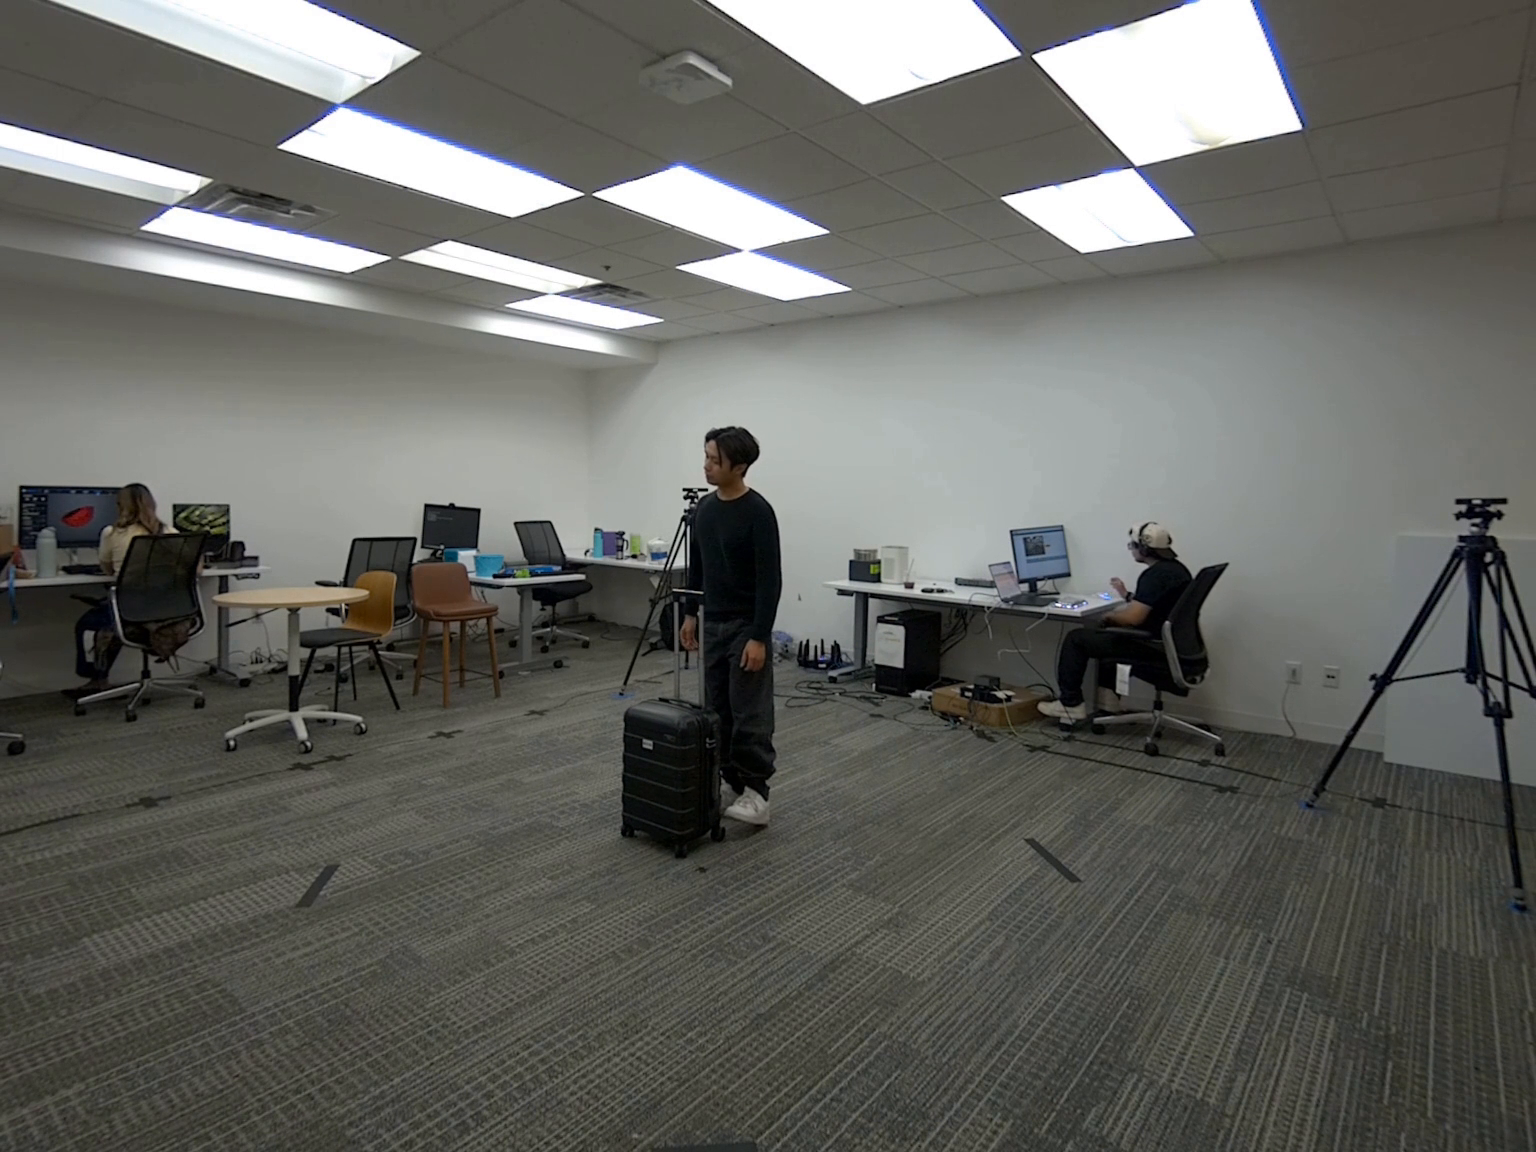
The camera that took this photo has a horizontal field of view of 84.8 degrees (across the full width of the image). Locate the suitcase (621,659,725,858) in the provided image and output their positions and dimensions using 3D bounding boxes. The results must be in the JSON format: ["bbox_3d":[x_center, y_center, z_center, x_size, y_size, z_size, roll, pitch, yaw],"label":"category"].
[{"bbox_3d":[-0.396,0.569,3.336,0.397,0.974,0.250,4,7,39],"label":"suitcase"}]
